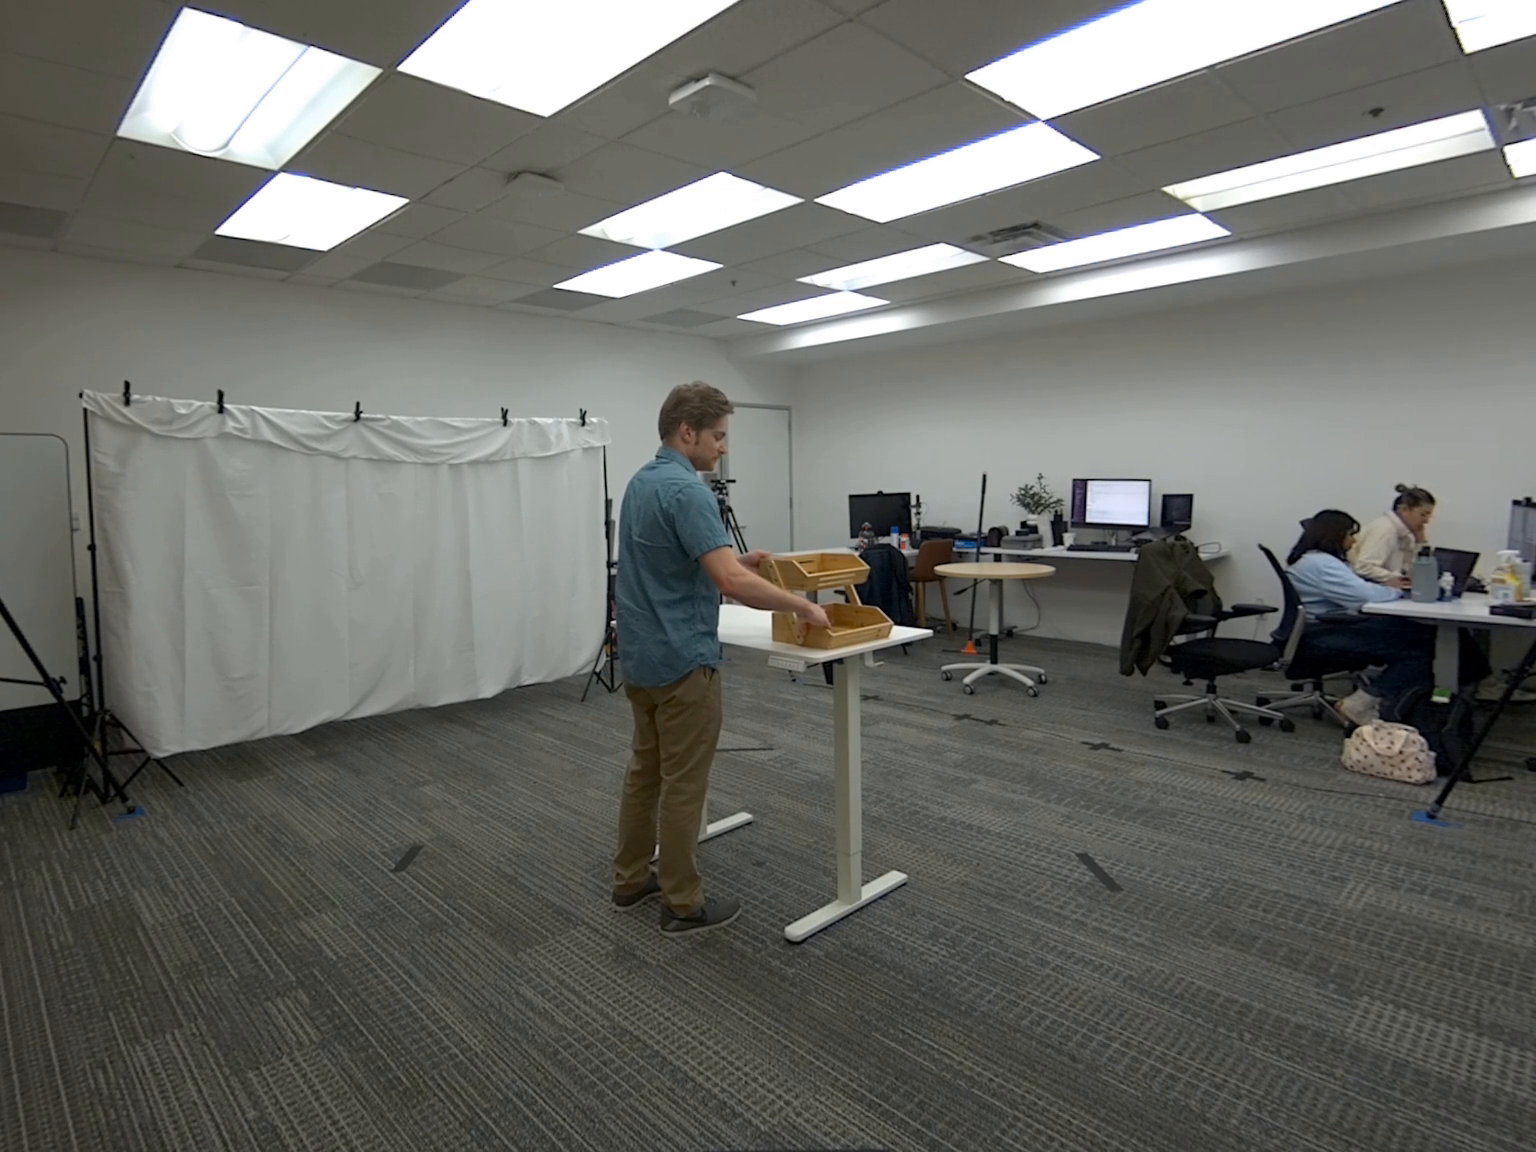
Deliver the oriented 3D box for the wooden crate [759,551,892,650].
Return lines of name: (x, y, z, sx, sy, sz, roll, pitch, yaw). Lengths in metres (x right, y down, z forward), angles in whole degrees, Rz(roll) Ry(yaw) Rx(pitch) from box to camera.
wooden crate: (0.189, 0.067, 2.725, 0.316, 0.272, 0.311, -6, 6, -44)
